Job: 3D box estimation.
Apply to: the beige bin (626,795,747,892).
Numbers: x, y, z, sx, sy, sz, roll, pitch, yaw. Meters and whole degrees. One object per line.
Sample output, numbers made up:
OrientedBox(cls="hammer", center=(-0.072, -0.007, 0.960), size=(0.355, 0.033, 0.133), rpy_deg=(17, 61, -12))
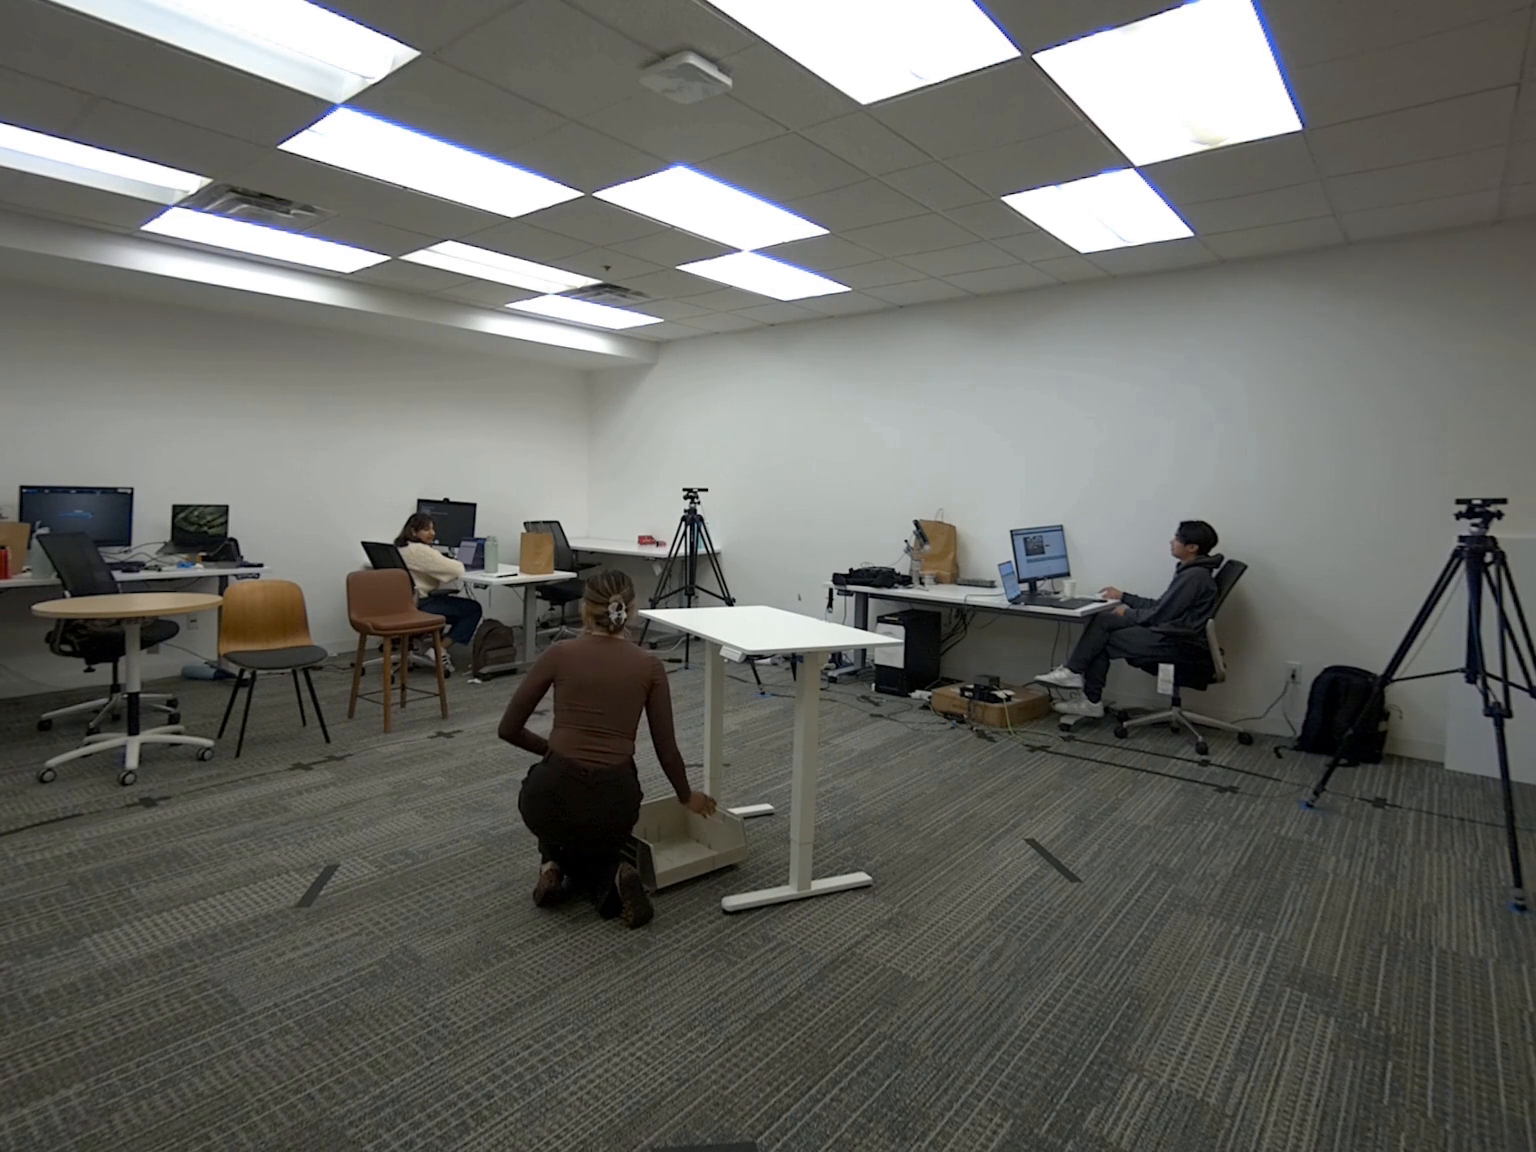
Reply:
OrientedBox(cls="beige bin", center=(-0.359, 0.979, 3.133), size=(0.410, 0.188, 0.390), rpy_deg=(-5, 6, -41))
